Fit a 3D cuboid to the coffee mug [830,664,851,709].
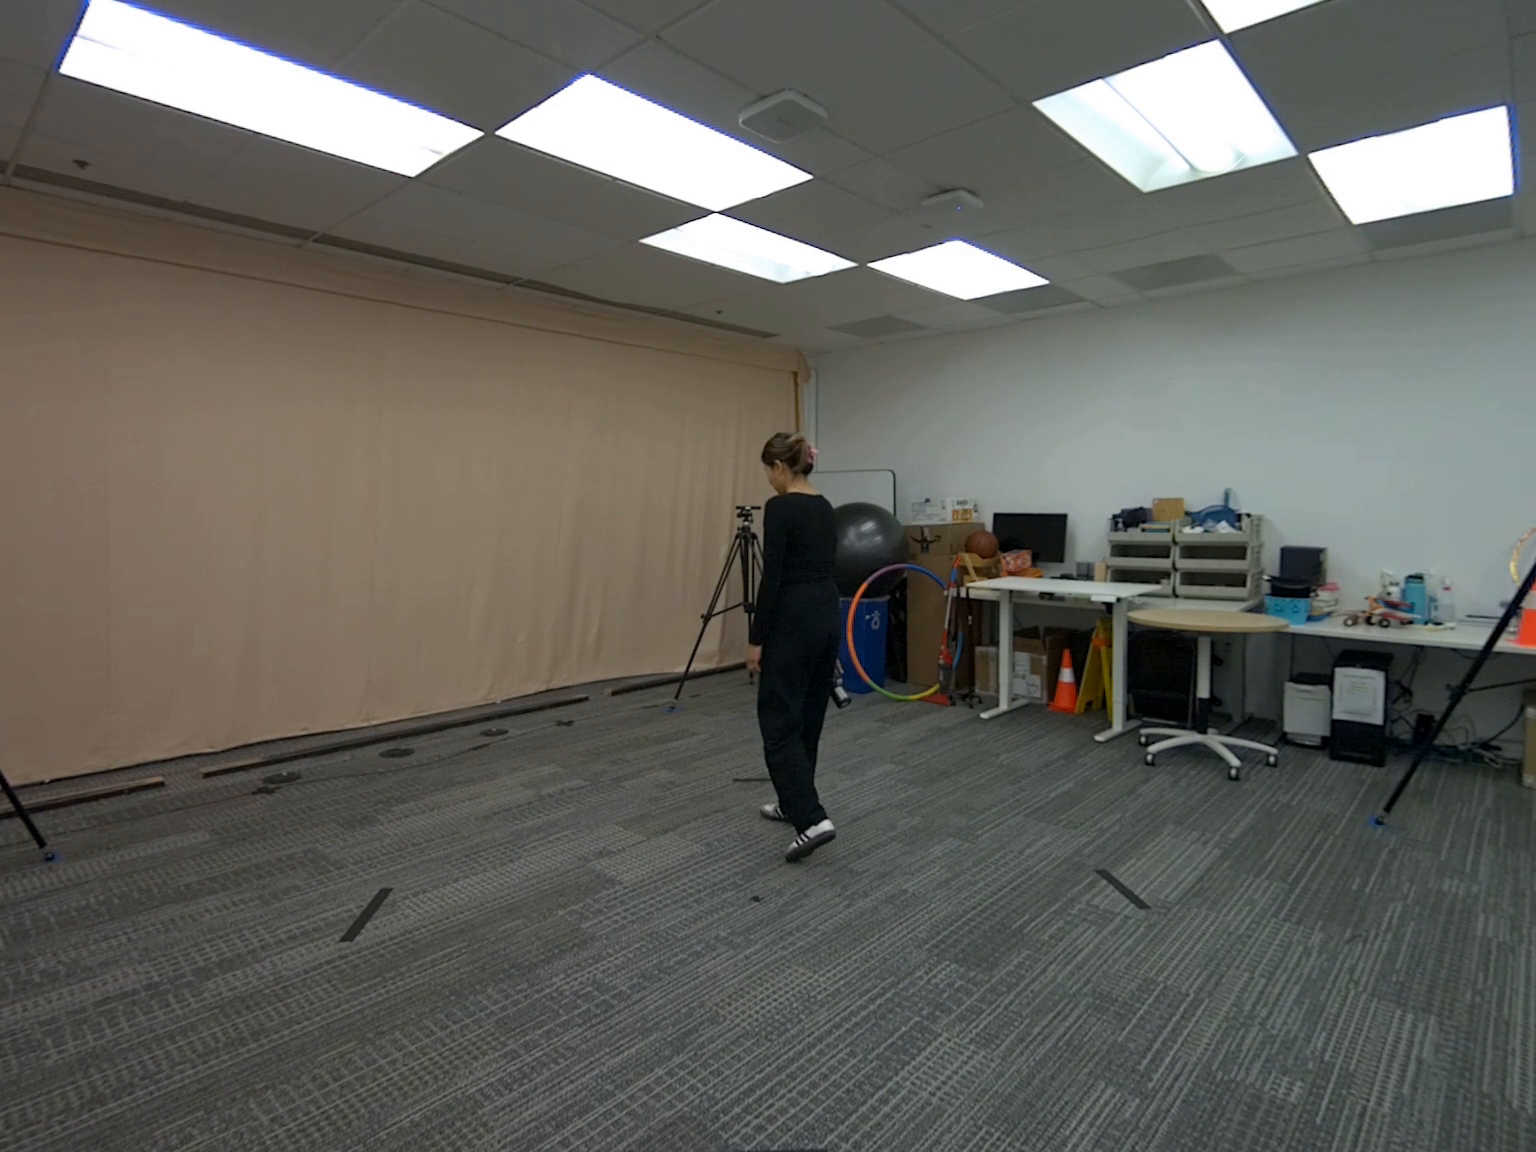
[{"bbox_3d":[0.287,0.483,3.717,0.087,0.120,0.209,-20,53,-17],"label":"coffee mug"}]
